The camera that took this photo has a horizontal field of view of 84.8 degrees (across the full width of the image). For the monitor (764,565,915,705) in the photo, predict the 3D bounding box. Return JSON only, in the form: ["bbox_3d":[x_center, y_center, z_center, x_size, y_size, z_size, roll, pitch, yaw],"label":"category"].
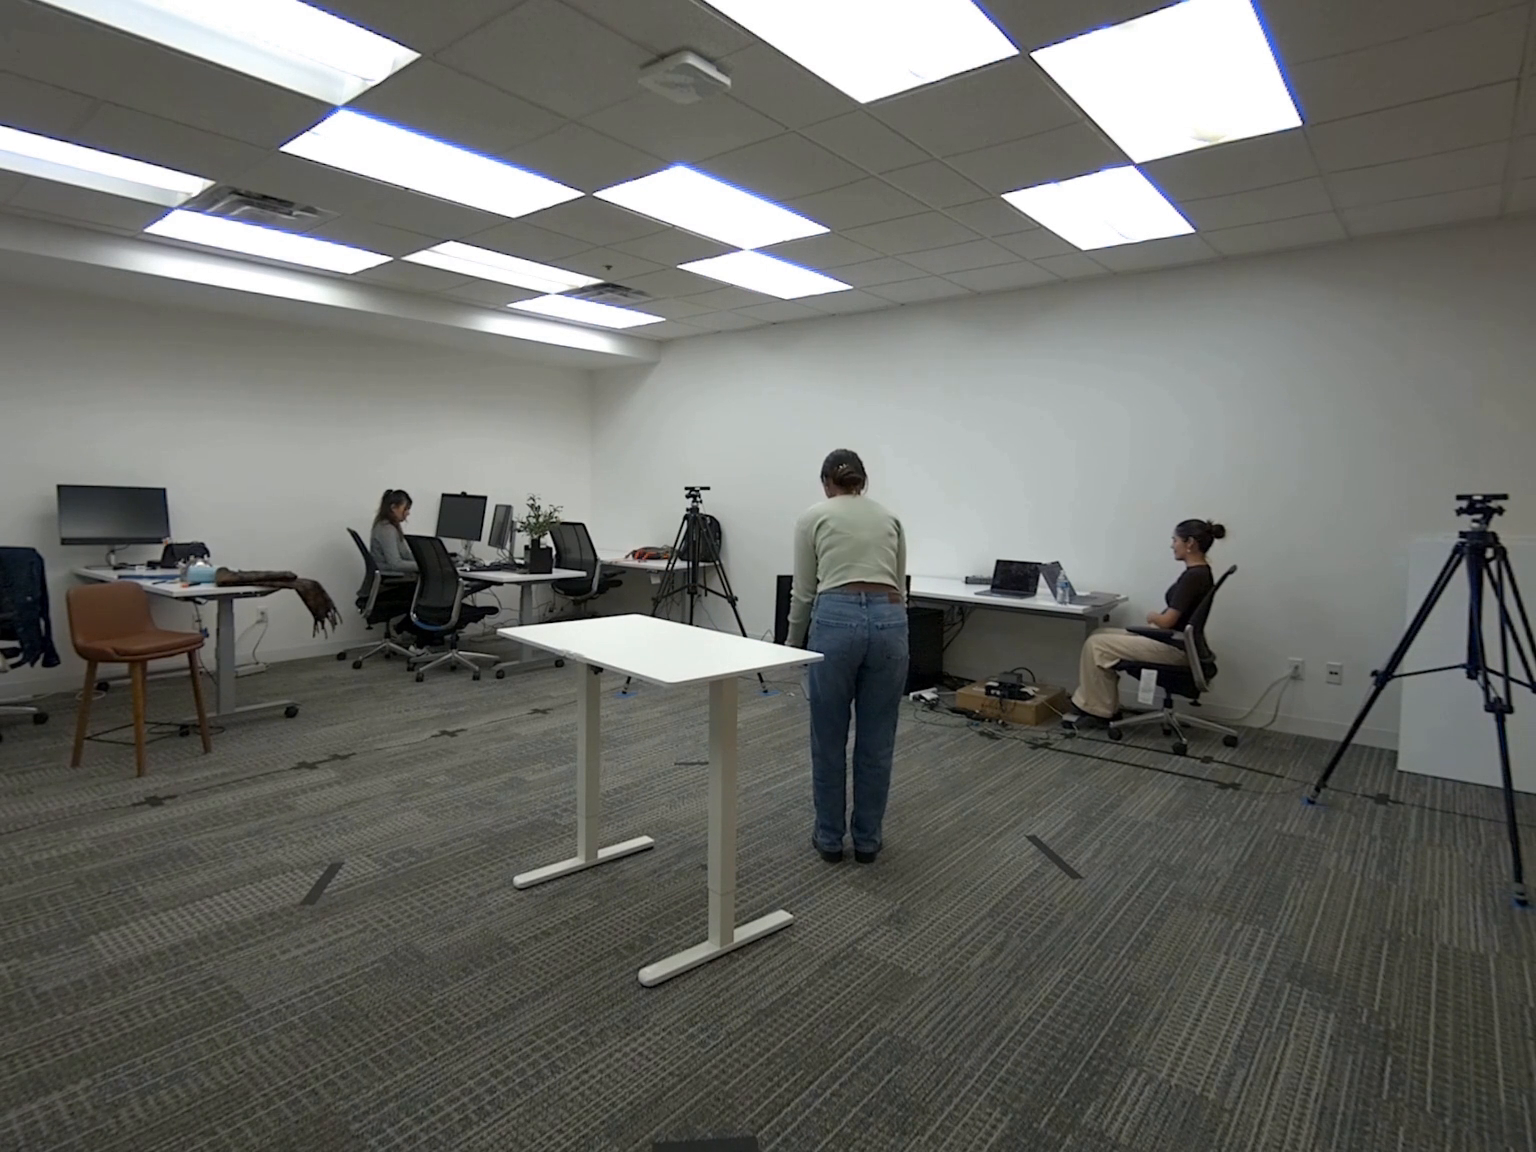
[{"bbox_3d":[0.277,0.230,3.431,0.535,0.513,0.192,-1,20,-8],"label":"monitor"}]
